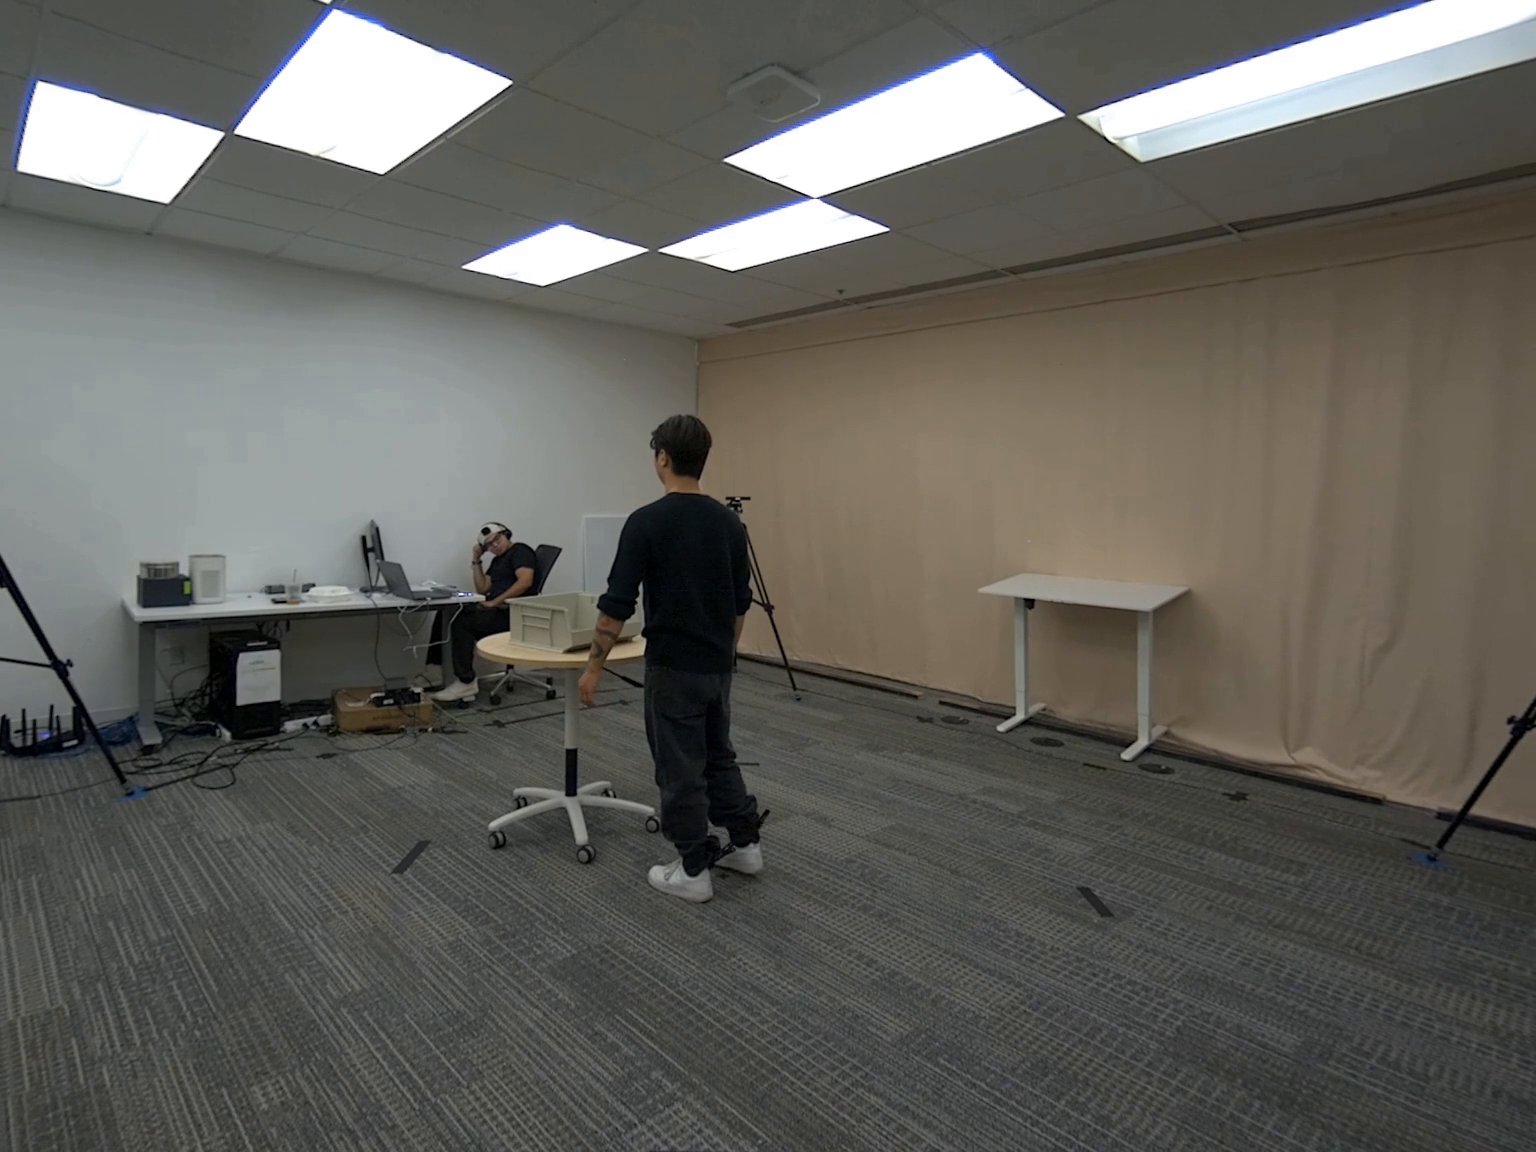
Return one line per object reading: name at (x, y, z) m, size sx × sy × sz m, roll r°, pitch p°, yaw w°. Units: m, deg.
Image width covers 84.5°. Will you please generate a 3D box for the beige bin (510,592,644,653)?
beige bin at (-0.804, 0.189, 3.474) m, size 0.386 × 0.188 × 0.414 m, roll 4°, pitch 6°, yaw 33°
